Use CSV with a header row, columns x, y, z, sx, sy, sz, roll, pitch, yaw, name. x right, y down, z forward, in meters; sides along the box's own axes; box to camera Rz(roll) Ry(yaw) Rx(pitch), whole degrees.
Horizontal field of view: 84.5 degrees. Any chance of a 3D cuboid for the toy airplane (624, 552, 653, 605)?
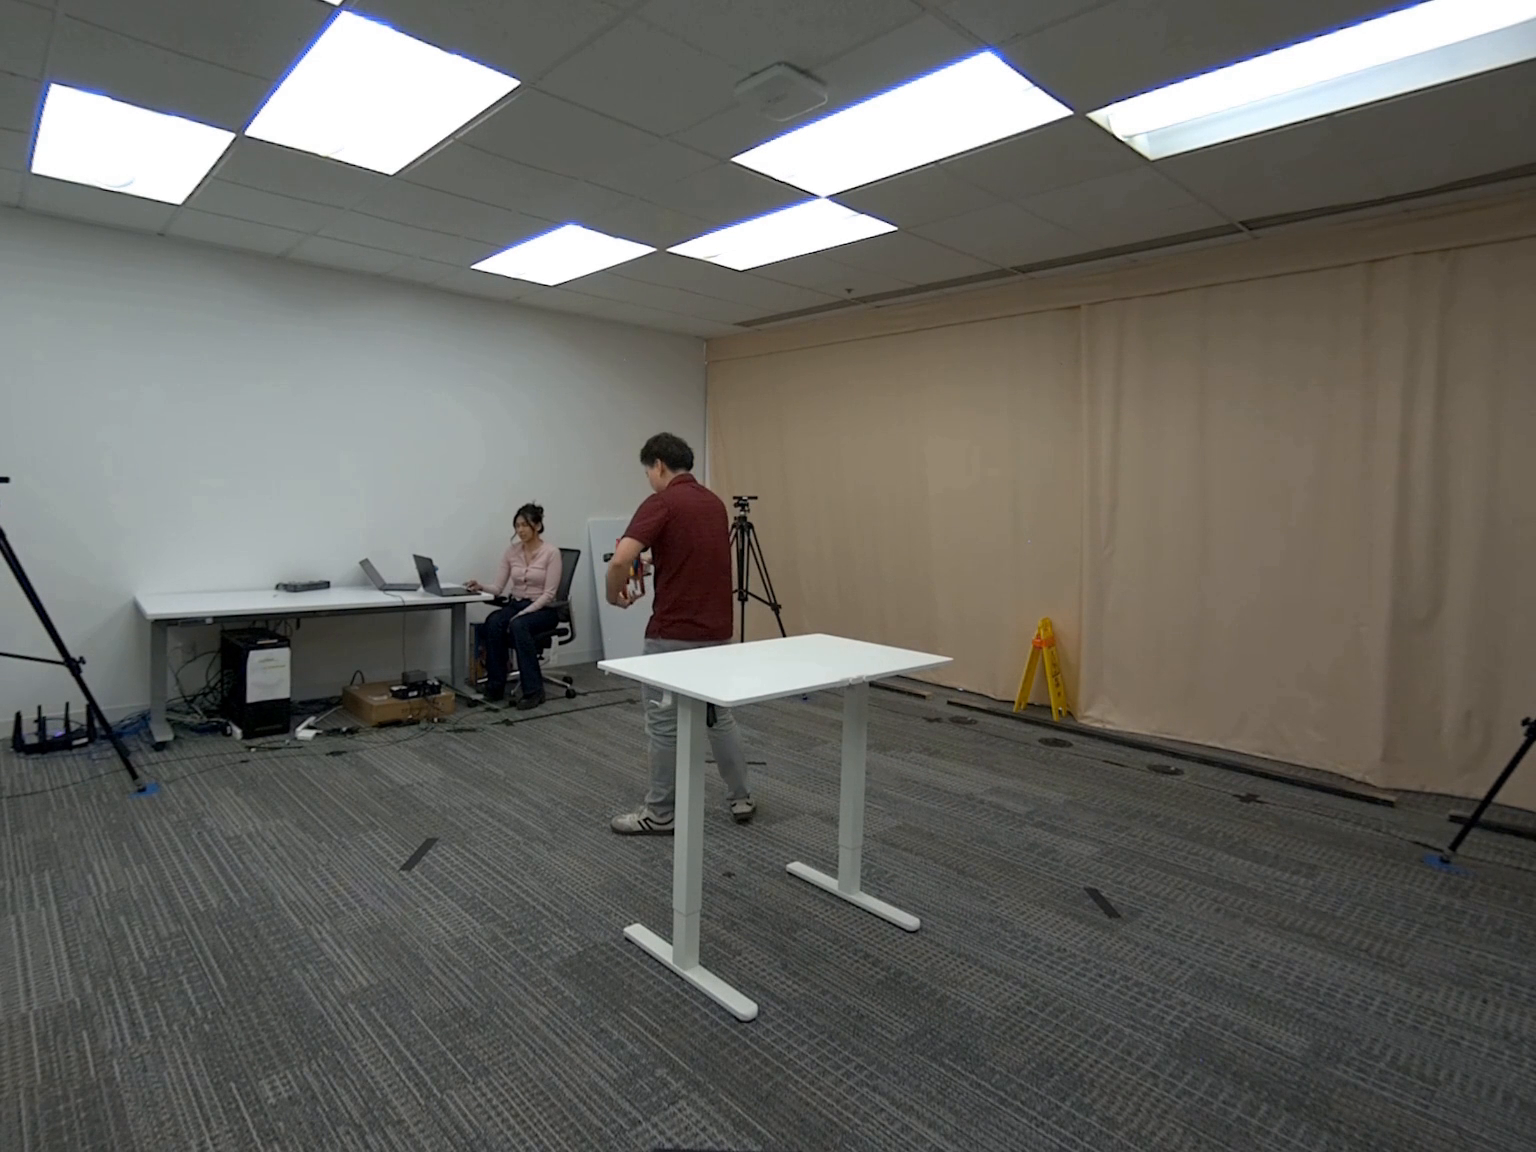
x,y,z,sx,sy,sz,roll,pitch,yaw,name
-0.582,-0.034,3.555,0.158,0.249,0.259,-13,10,13,toy airplane
